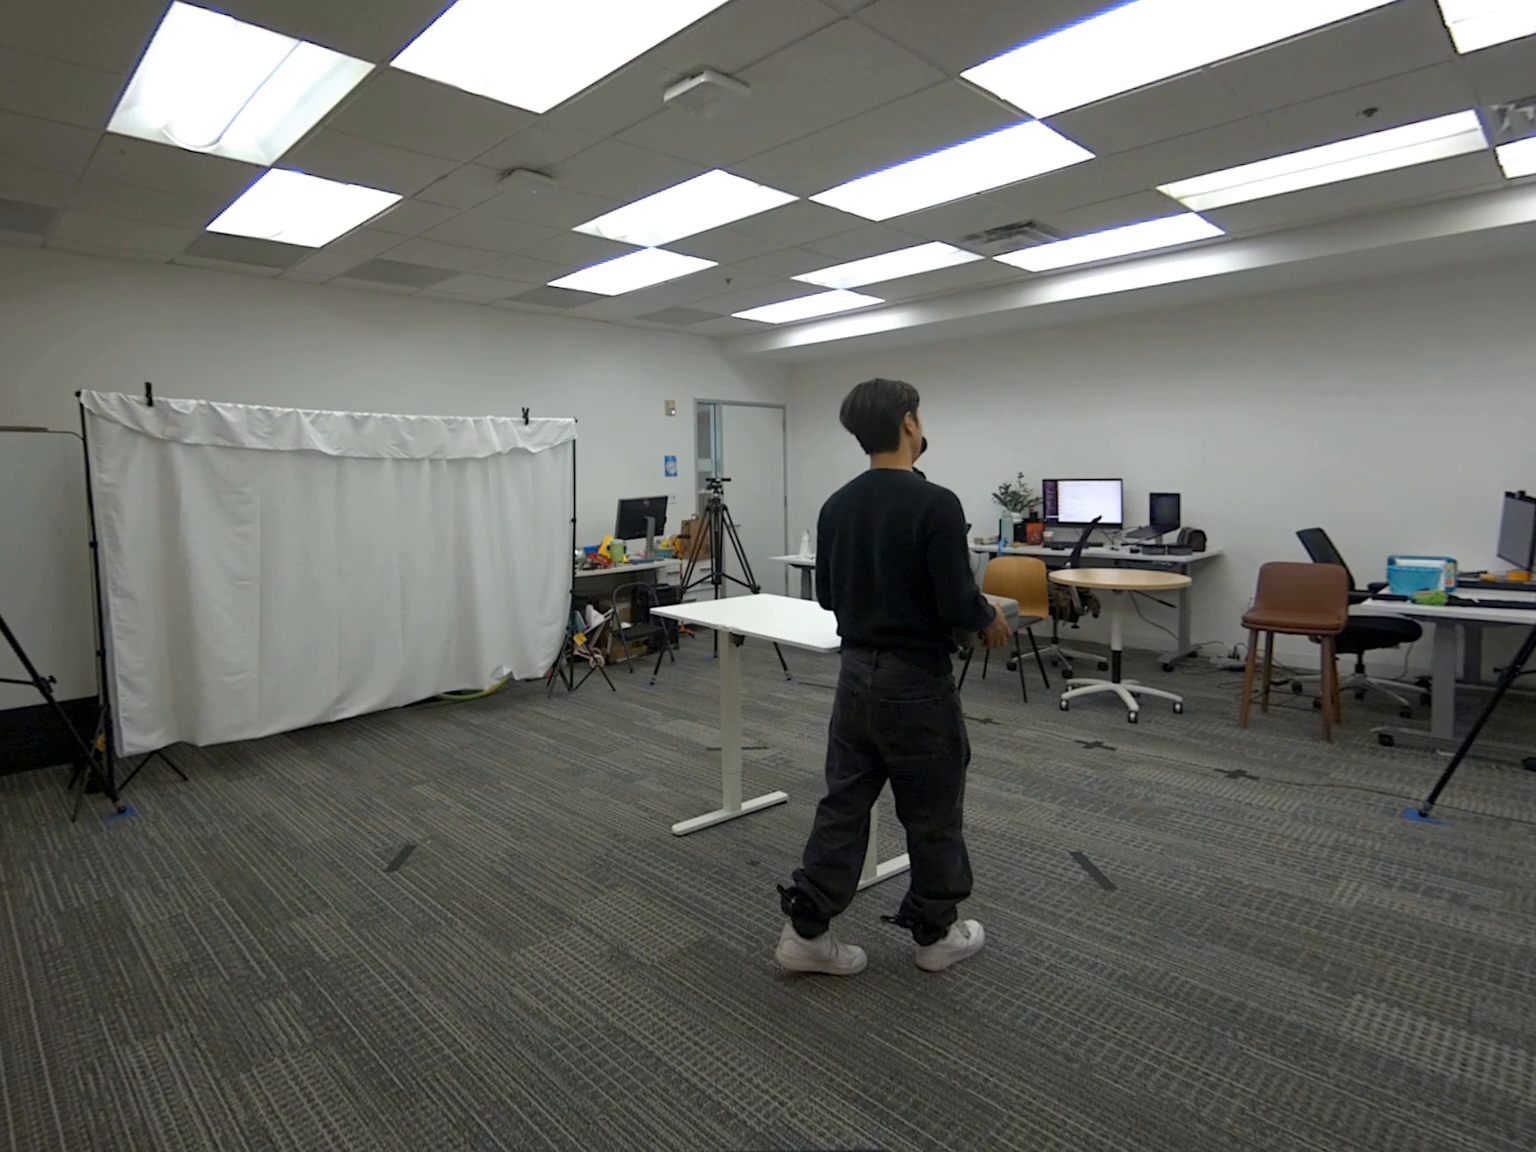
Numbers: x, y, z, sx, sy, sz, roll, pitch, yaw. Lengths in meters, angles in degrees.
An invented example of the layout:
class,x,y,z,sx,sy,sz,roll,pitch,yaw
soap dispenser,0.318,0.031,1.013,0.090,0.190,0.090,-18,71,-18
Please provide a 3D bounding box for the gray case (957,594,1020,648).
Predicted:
class,x,y,z,sx,sy,sz,roll,pitch,yaw
gray case,0.587,0.121,2.545,0.255,0.103,0.265,-12,16,-39
